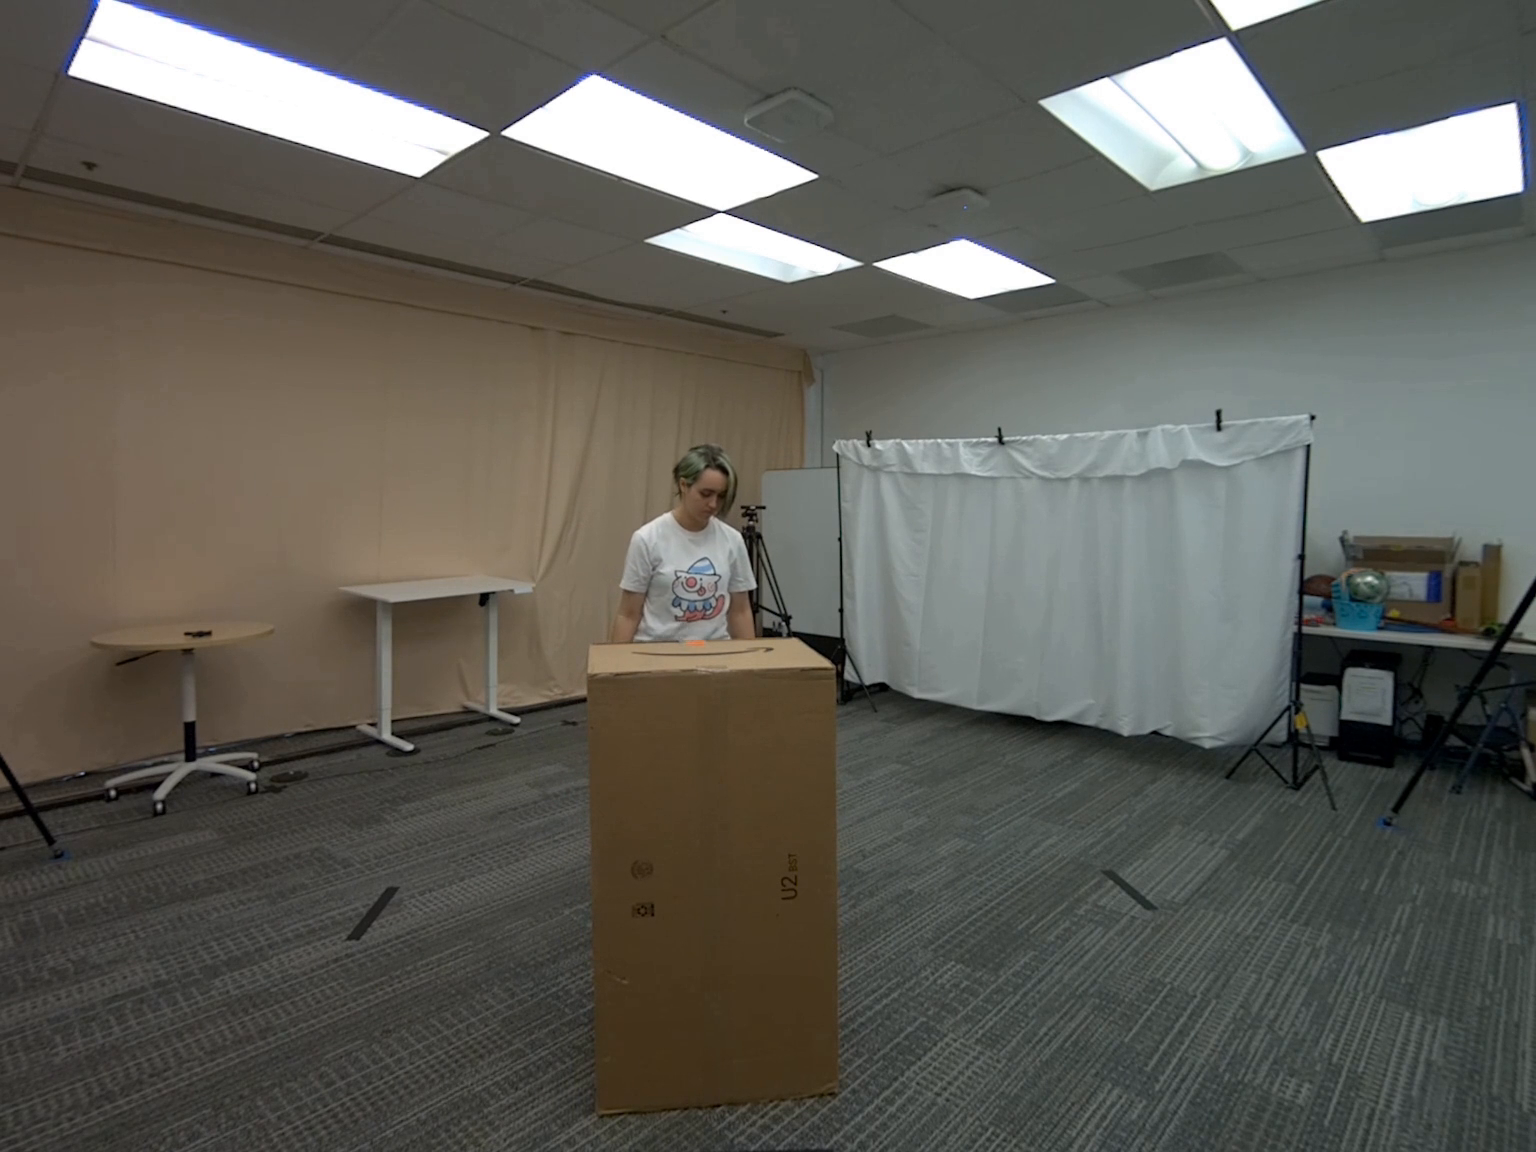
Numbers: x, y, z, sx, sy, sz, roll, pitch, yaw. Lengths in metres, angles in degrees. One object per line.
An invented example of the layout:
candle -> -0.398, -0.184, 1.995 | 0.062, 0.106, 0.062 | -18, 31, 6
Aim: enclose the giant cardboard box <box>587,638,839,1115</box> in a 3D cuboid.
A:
giant cardboard box -> -0.153, 0.708, 2.137 | 0.578, 1.024, 0.452 | -1, 4, -9
